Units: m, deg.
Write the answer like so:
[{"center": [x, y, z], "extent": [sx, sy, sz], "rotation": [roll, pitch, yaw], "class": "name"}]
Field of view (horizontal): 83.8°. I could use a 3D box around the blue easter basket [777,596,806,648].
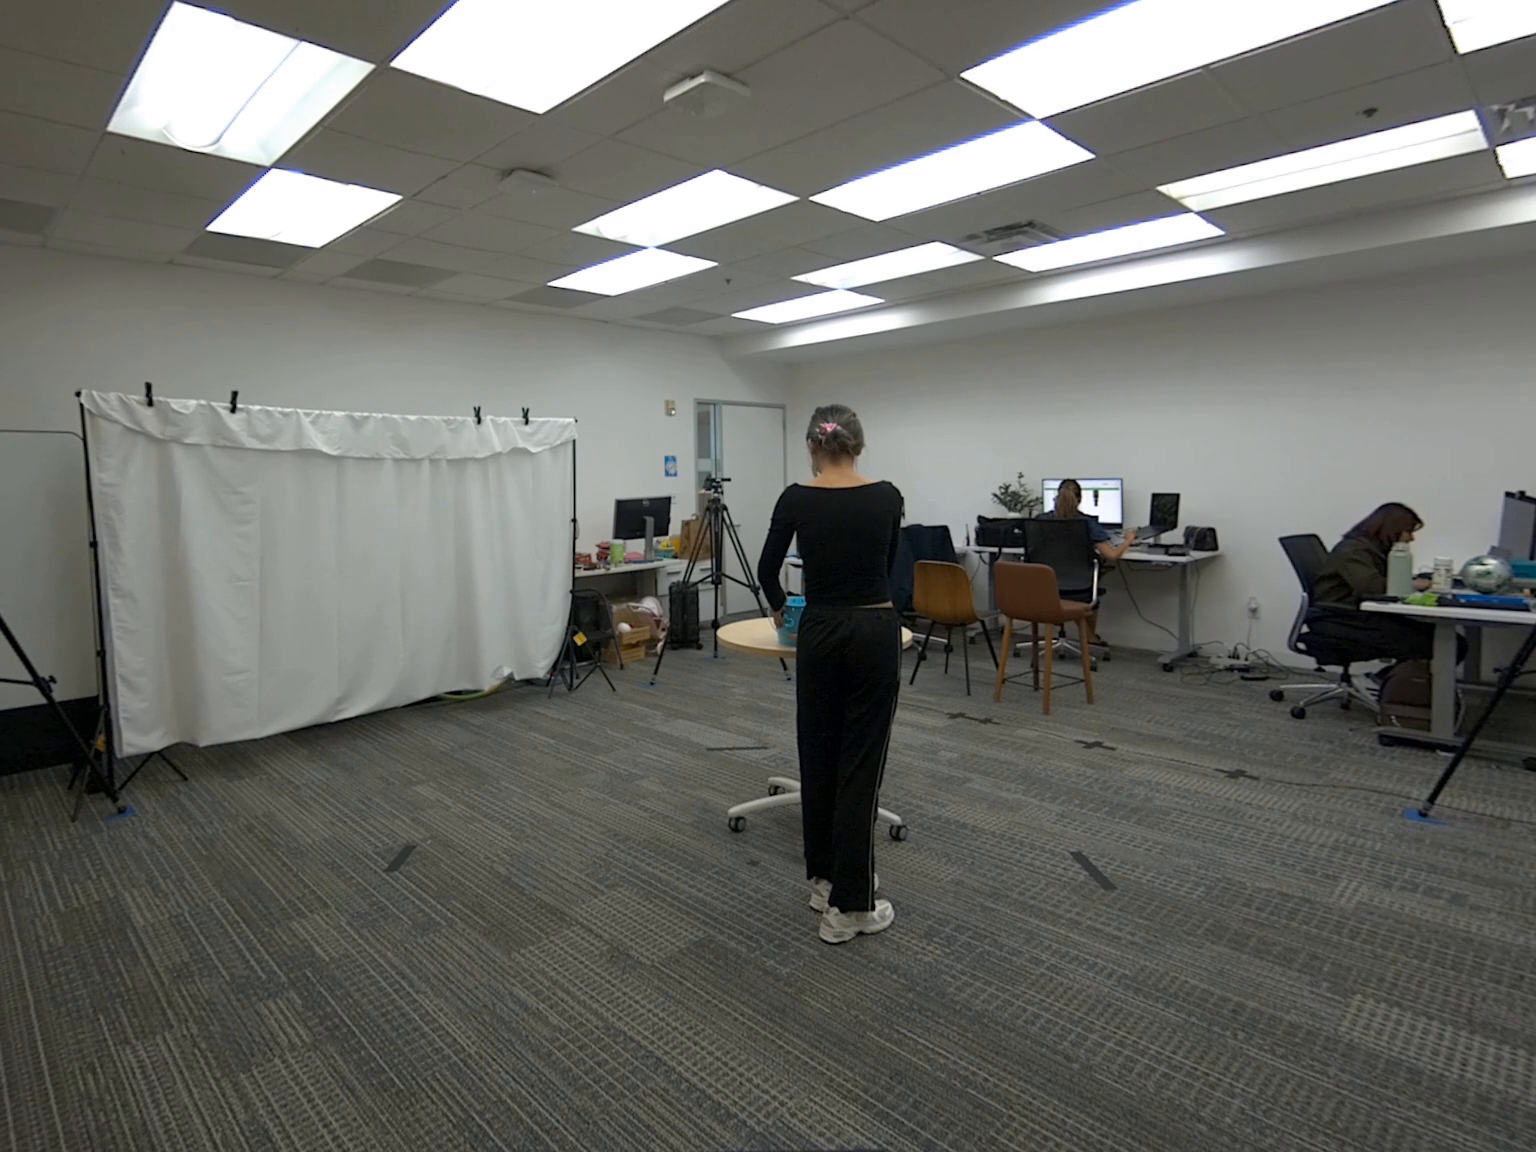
[{"center": [0.133, 0.172, 3.180], "extent": [0.243, 0.155, 0.245], "rotation": [0, 5, -2], "class": "blue easter basket"}]
